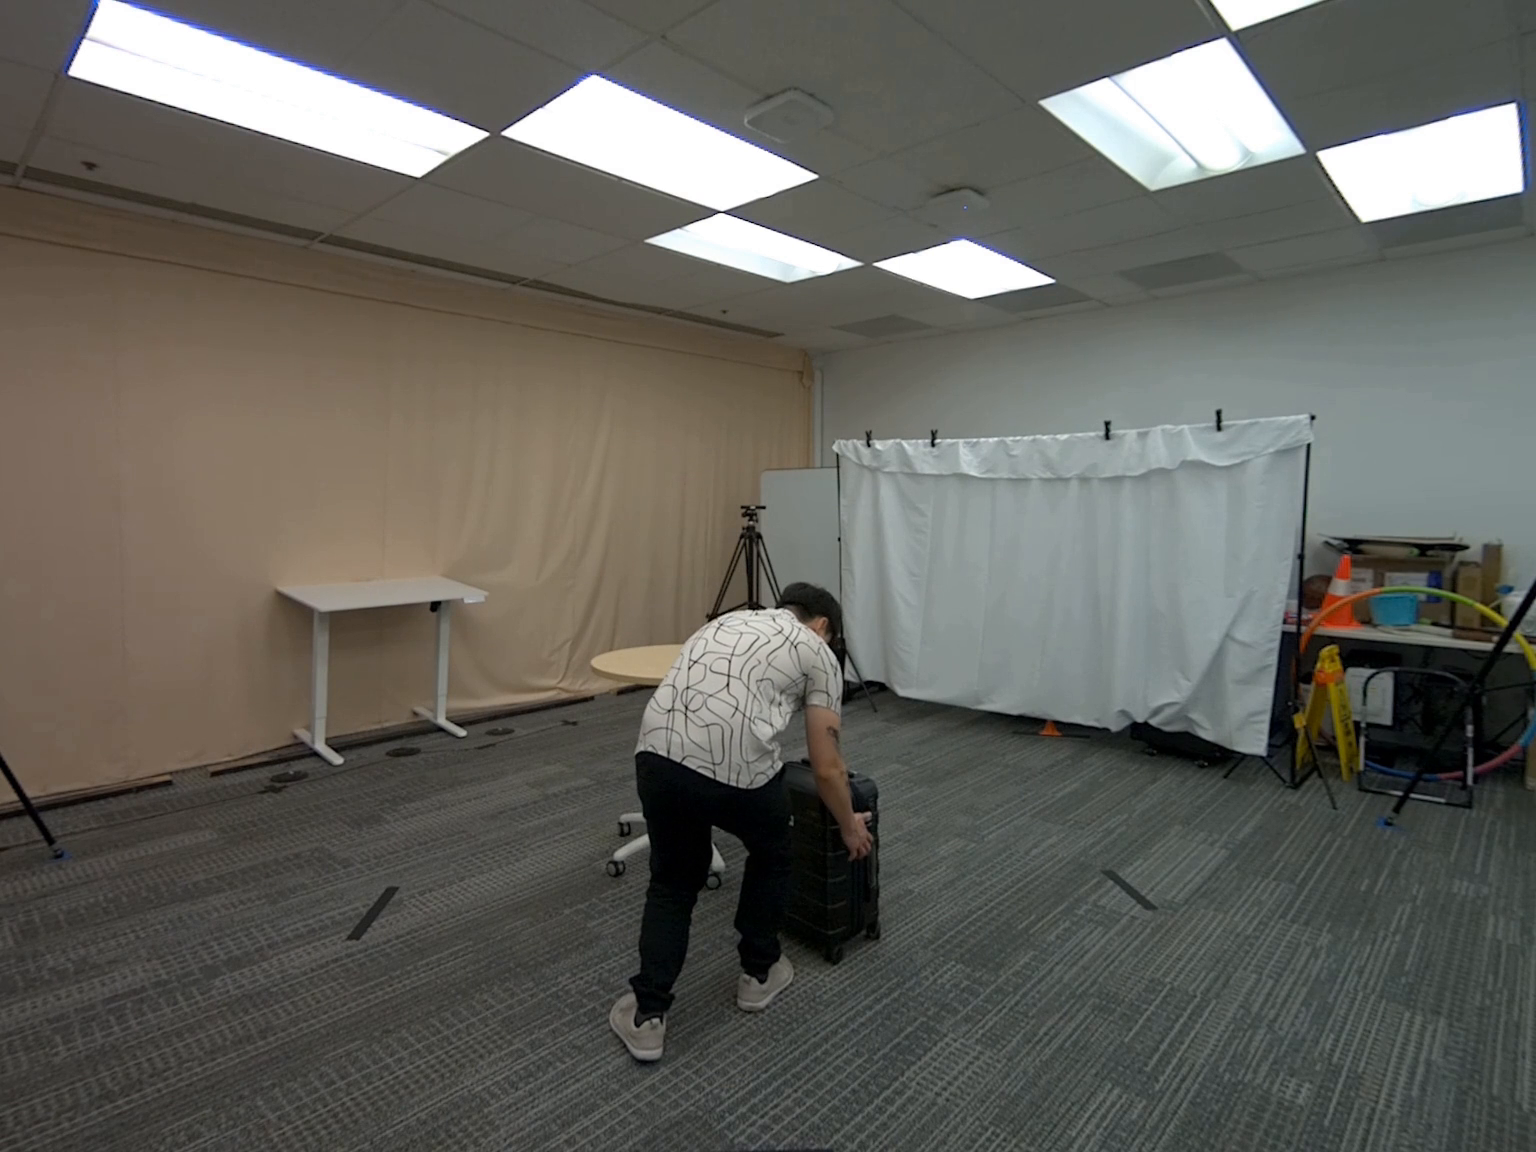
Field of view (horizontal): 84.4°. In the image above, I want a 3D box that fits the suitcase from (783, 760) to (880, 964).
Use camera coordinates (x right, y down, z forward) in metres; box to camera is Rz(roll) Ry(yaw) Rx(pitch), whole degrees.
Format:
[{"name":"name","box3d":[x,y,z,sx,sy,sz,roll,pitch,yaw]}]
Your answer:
[{"name":"suitcase","box3d":[0.171,0.891,2.718,0.241,0.548,0.388,-5,6,-43]}]
